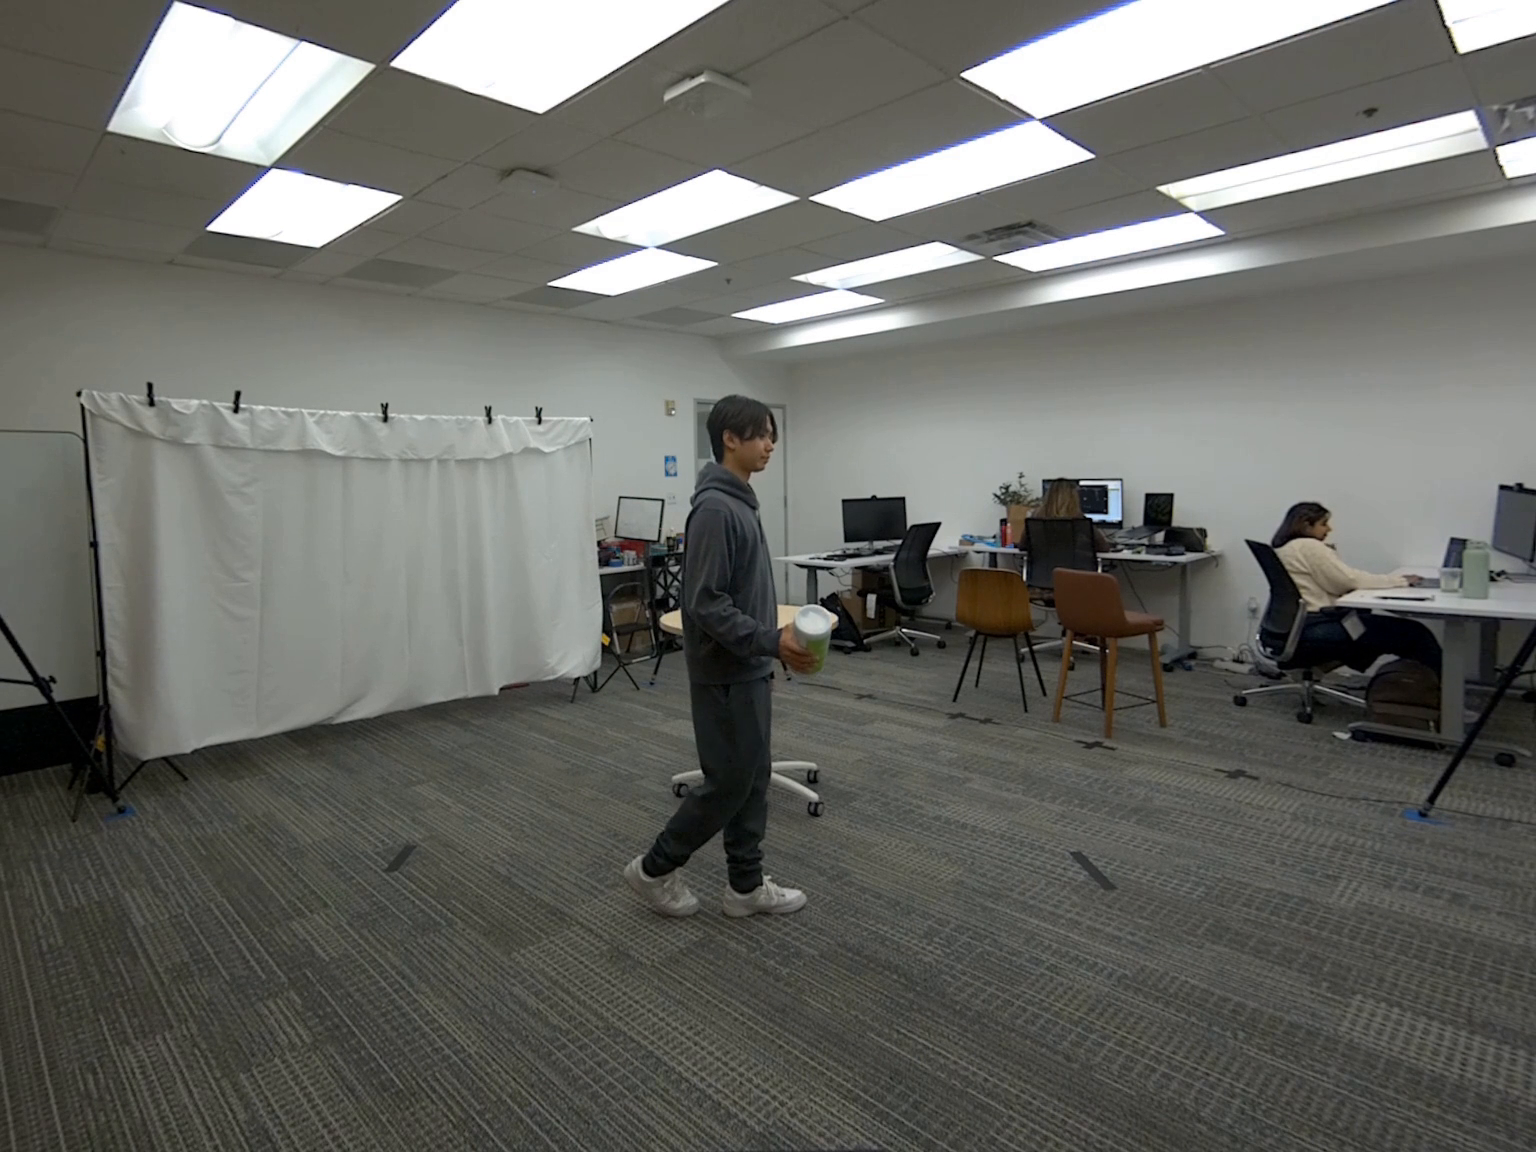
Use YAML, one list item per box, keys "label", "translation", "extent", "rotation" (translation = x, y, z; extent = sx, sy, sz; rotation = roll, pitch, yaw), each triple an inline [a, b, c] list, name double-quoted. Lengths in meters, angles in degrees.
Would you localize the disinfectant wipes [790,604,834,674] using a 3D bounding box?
- label: "disinfectant wipes"
  translation: [0.115, 0.185, 2.443]
  extent: [0.117, 0.121, 0.212]
  rotation: [2, -41, -4]
